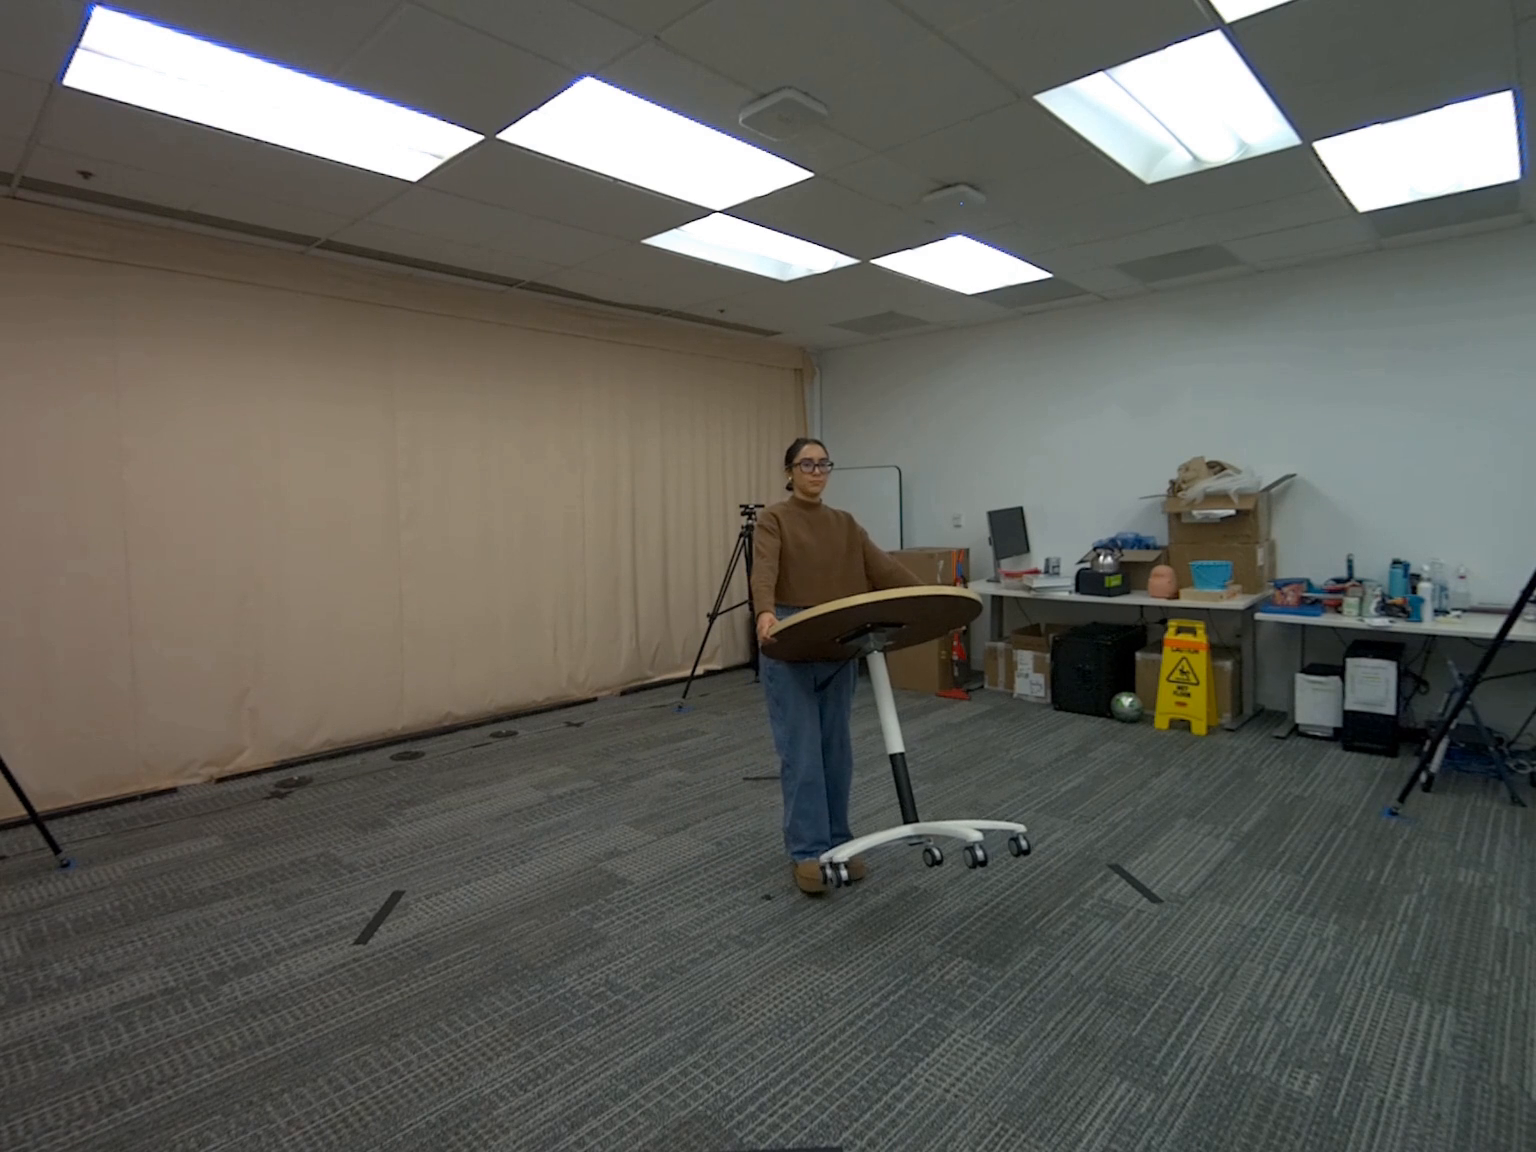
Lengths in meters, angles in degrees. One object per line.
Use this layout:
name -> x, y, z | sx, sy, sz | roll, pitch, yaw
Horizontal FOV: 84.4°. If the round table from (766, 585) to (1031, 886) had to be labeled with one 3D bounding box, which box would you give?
round table -> 0.429, 0.540, 2.746 | 0.782, 0.798, 0.777 | -8, -19, -5
